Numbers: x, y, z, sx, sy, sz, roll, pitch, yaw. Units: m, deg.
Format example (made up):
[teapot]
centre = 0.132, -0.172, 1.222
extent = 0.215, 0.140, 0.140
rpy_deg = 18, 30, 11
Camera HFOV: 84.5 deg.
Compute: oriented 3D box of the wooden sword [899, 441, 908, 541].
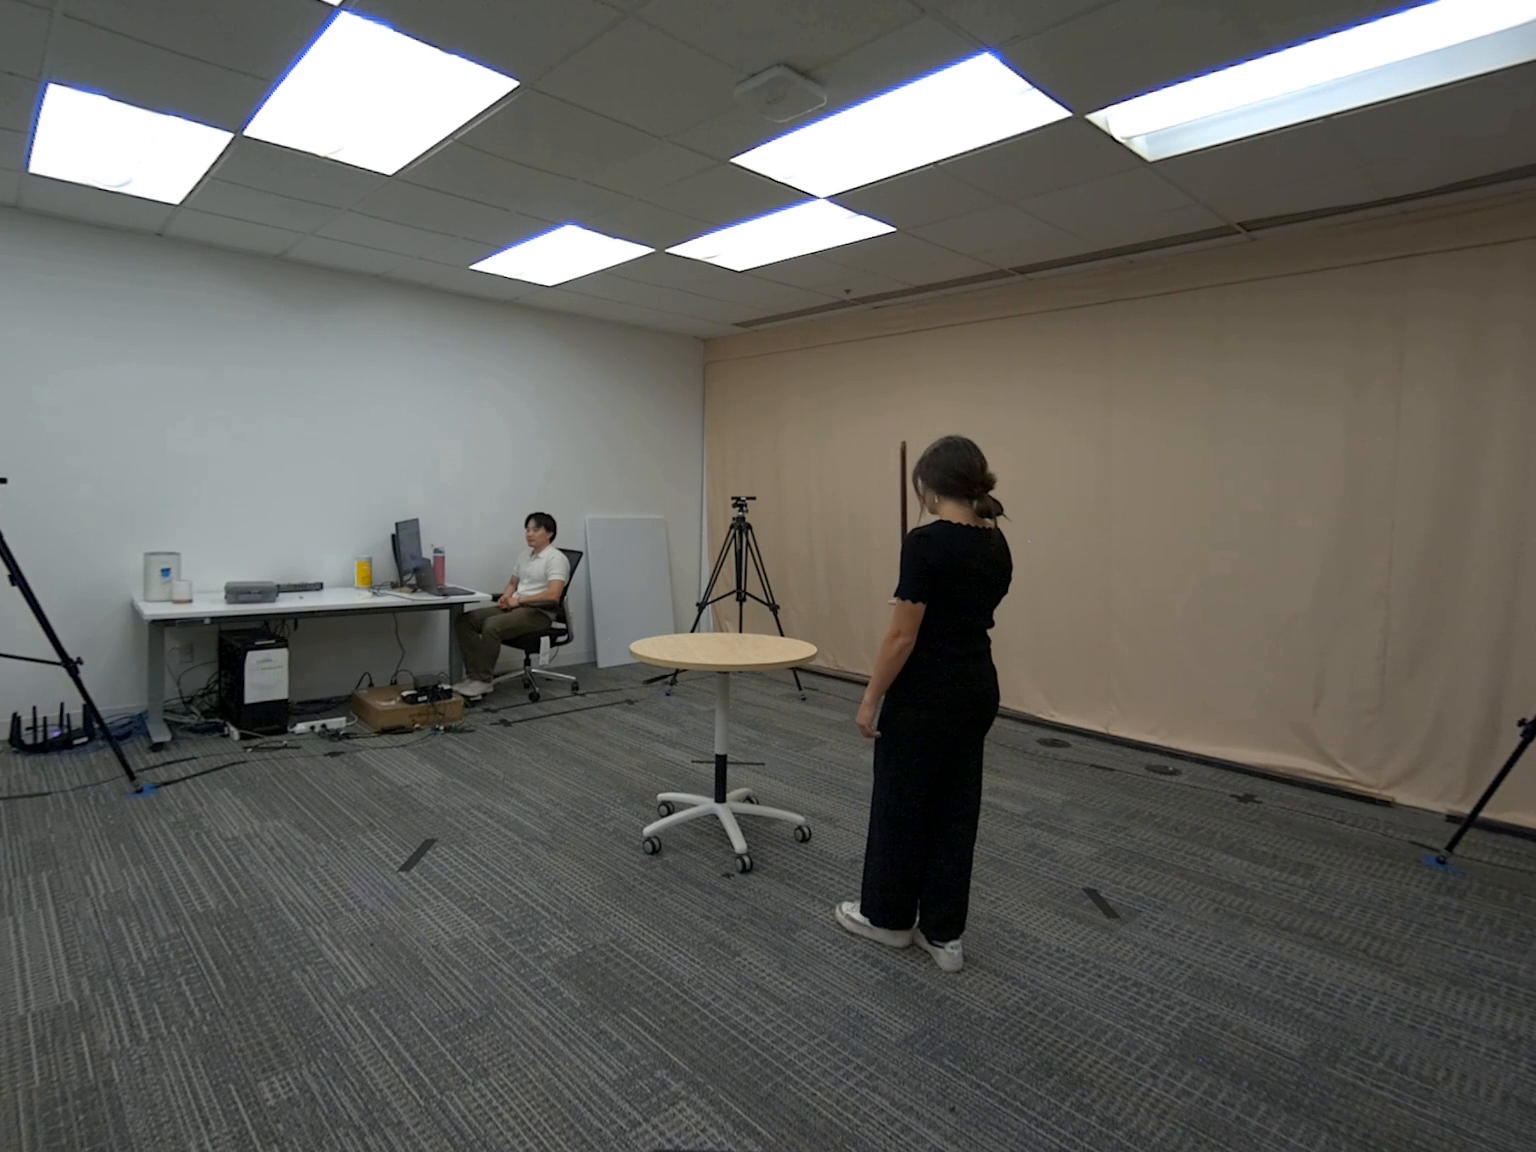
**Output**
[wooden sword]
centre = 0.478, 0.056, 2.974
extent = 0.051, 1.014, 0.024
rpy_deg = -2, 13, -2
